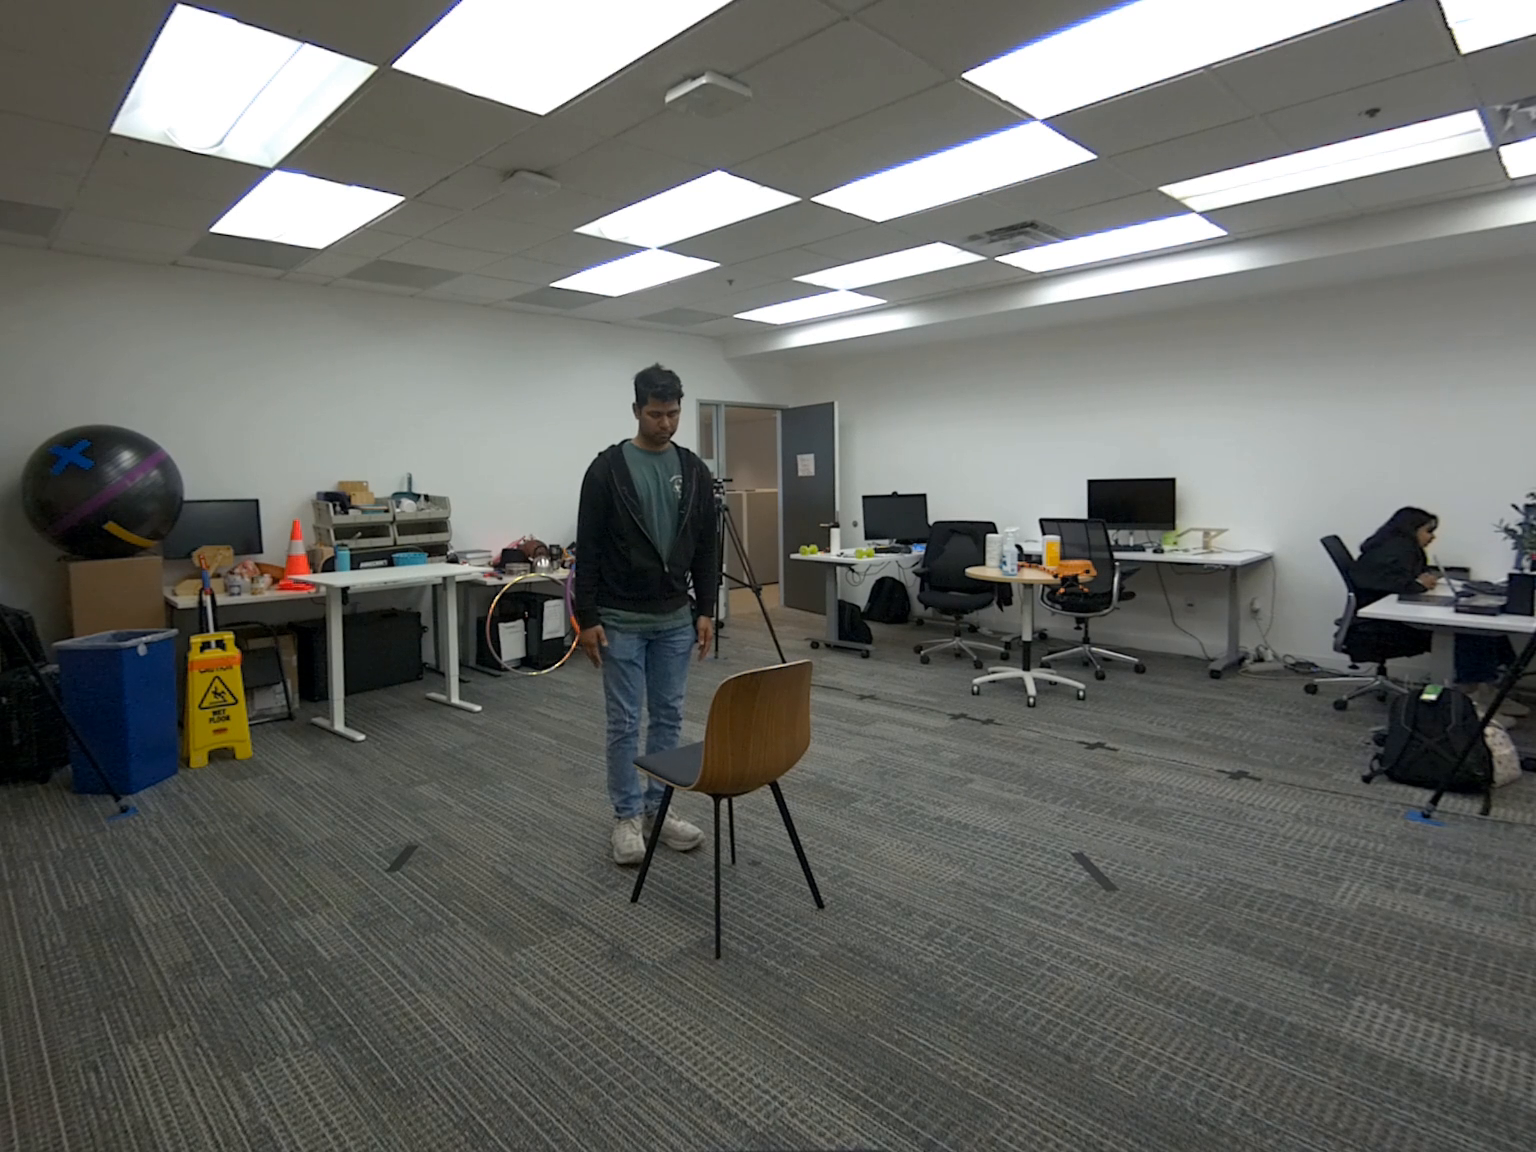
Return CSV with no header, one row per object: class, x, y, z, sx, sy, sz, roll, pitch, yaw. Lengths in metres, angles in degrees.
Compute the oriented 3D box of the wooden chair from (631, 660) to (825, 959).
wooden chair,-0.139,0.660,2.774,0.466,0.871,0.541,-5,10,-41
